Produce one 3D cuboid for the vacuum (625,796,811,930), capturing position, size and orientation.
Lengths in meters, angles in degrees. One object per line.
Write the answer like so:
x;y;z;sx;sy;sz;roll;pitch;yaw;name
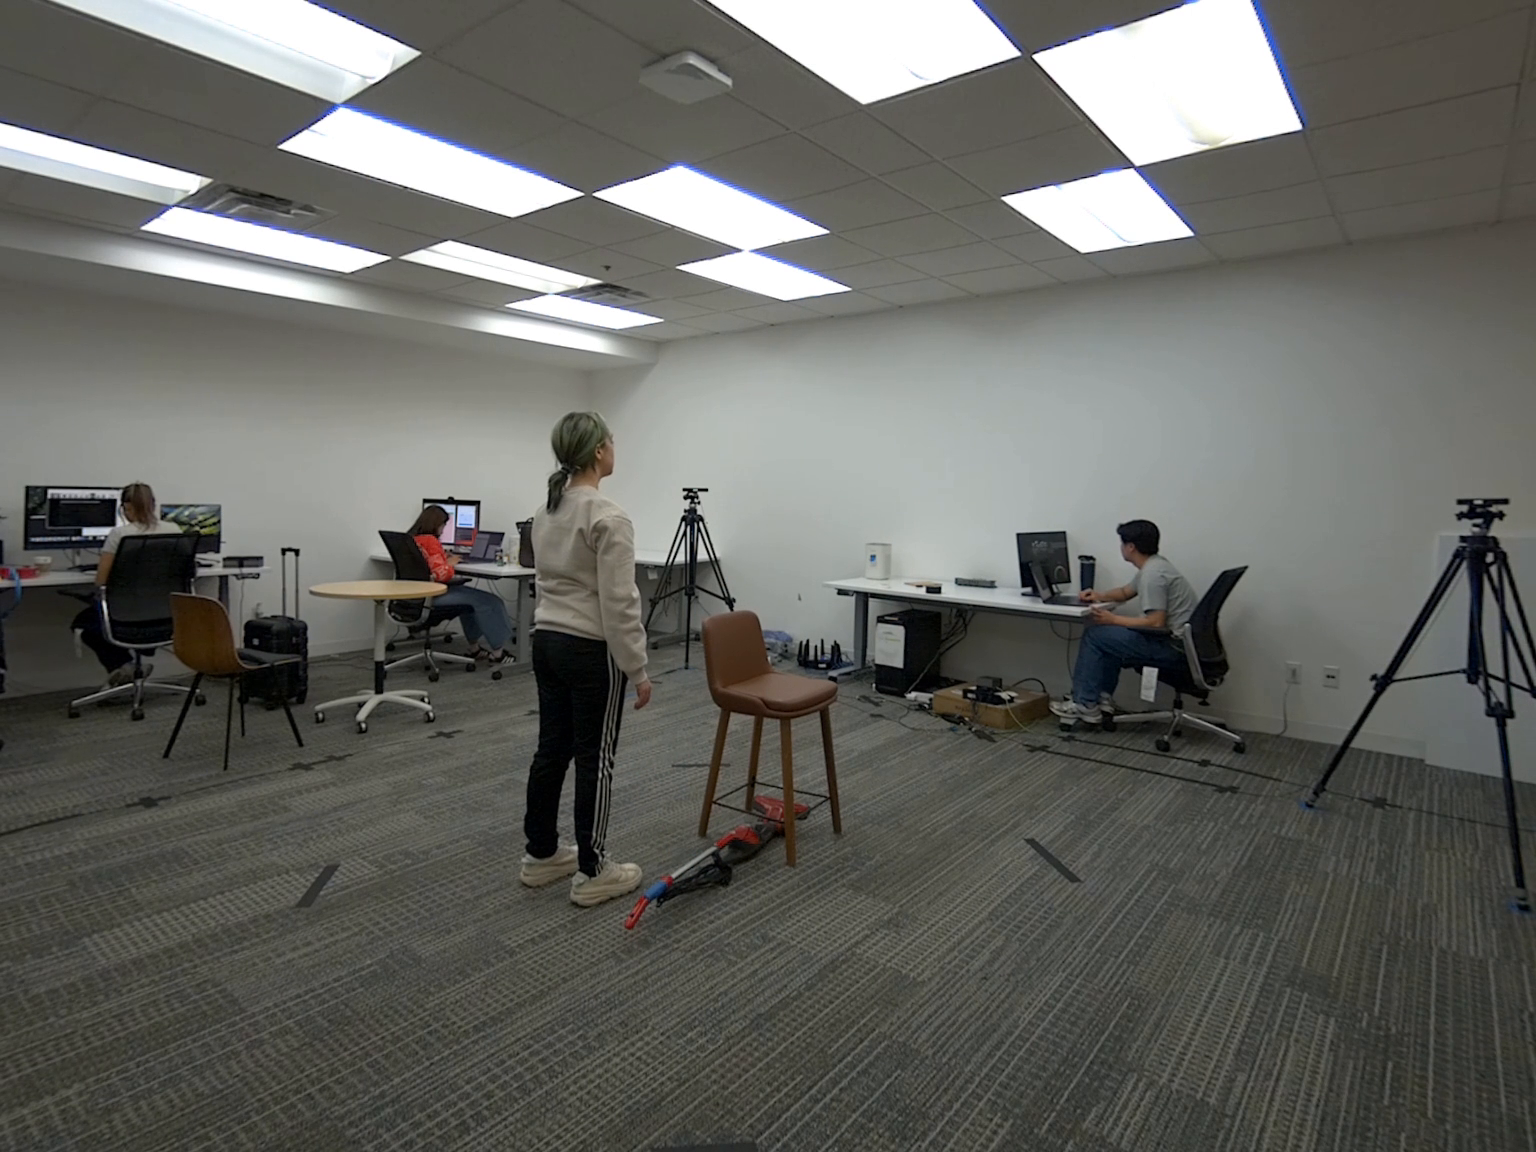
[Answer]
-0.191;1.029;3.032;0.259;0.143;1.025;3;6;26;vacuum
